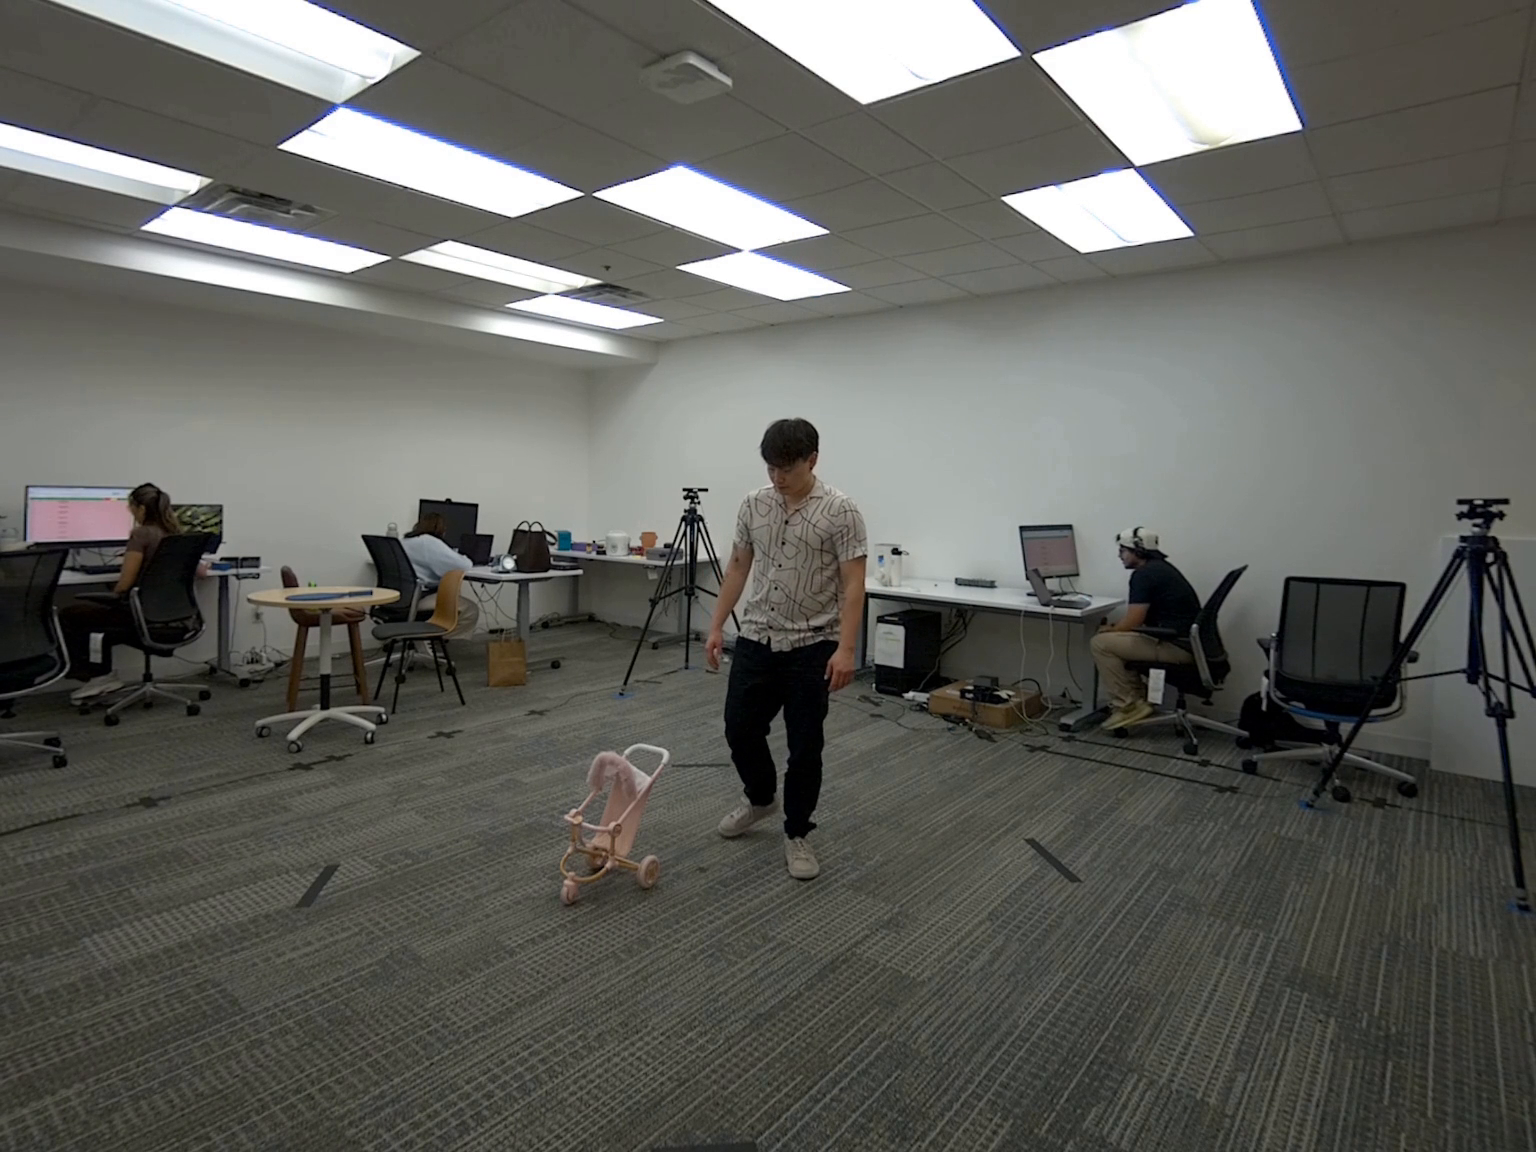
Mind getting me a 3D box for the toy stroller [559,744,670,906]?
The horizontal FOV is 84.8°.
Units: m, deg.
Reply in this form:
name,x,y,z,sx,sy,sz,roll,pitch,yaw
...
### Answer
name,x,y,z,sx,sy,sz,roll,pitch,yaw
toy stroller,-0.561,0.851,2.971,0.291,0.539,0.328,2,-11,39
